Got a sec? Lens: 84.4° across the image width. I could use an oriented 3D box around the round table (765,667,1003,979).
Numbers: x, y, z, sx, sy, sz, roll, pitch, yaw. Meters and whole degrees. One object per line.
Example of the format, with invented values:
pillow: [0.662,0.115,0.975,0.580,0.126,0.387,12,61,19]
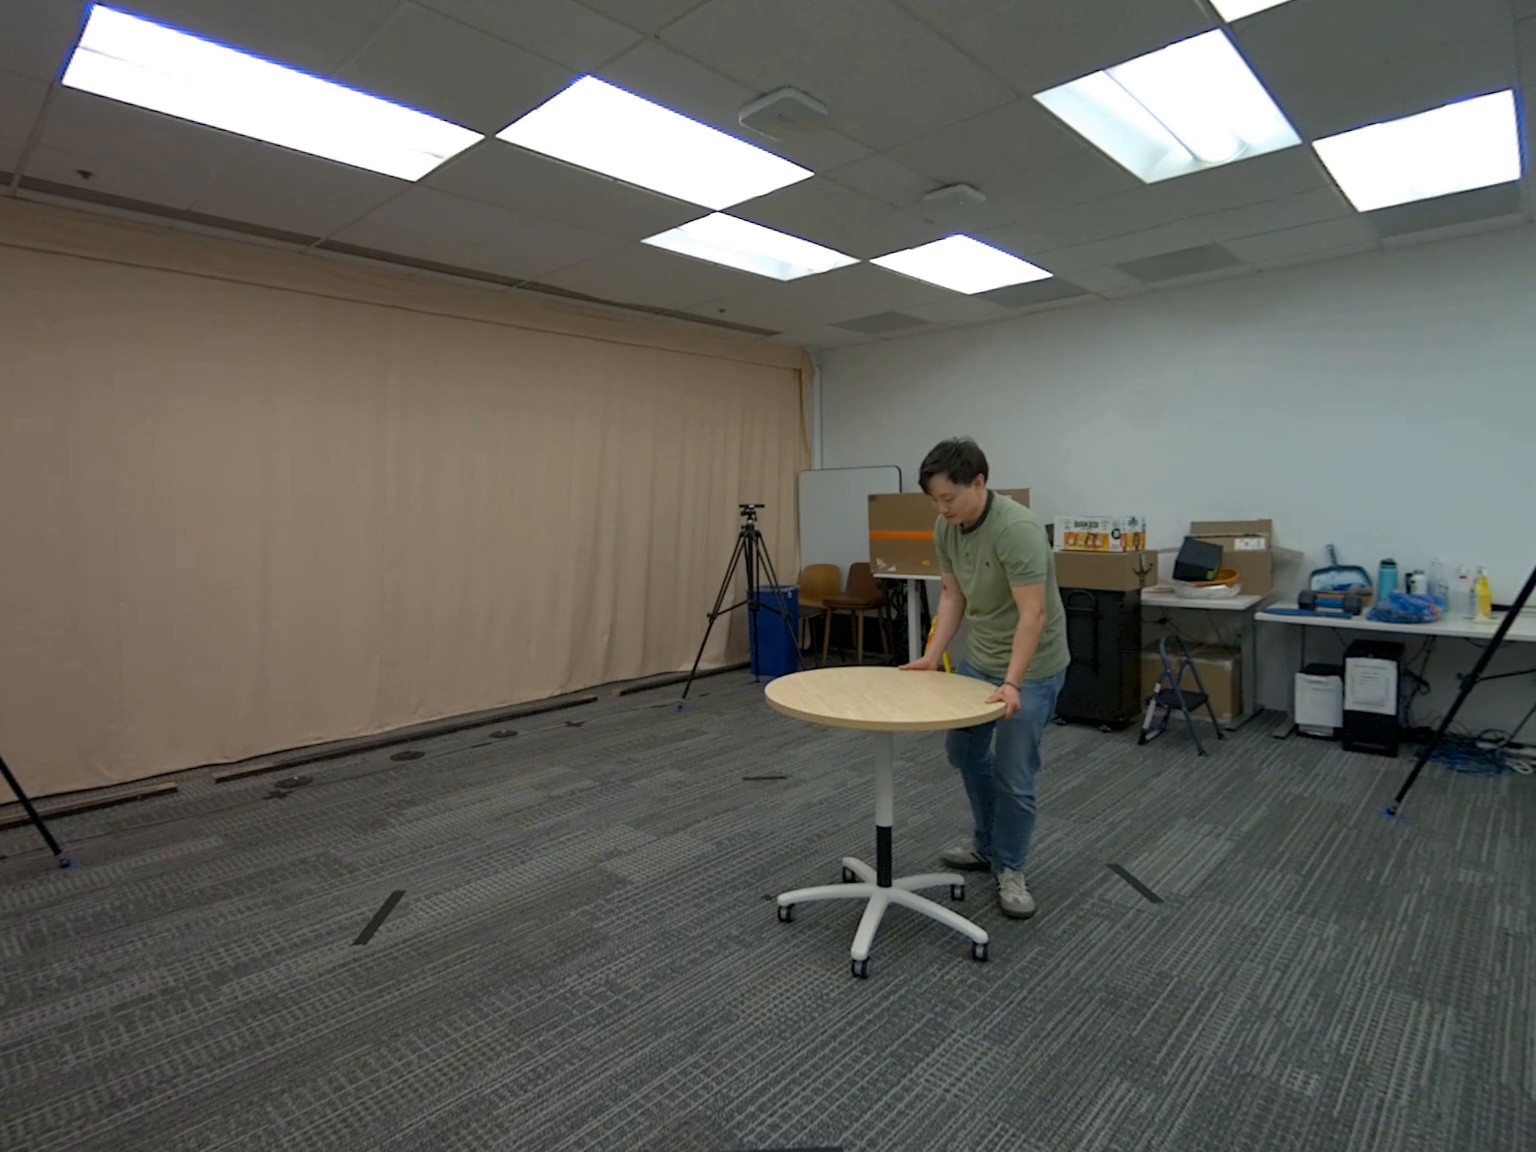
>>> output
round table: [0.381,0.765,2.747,0.763,0.792,0.767,-1,4,-2]
